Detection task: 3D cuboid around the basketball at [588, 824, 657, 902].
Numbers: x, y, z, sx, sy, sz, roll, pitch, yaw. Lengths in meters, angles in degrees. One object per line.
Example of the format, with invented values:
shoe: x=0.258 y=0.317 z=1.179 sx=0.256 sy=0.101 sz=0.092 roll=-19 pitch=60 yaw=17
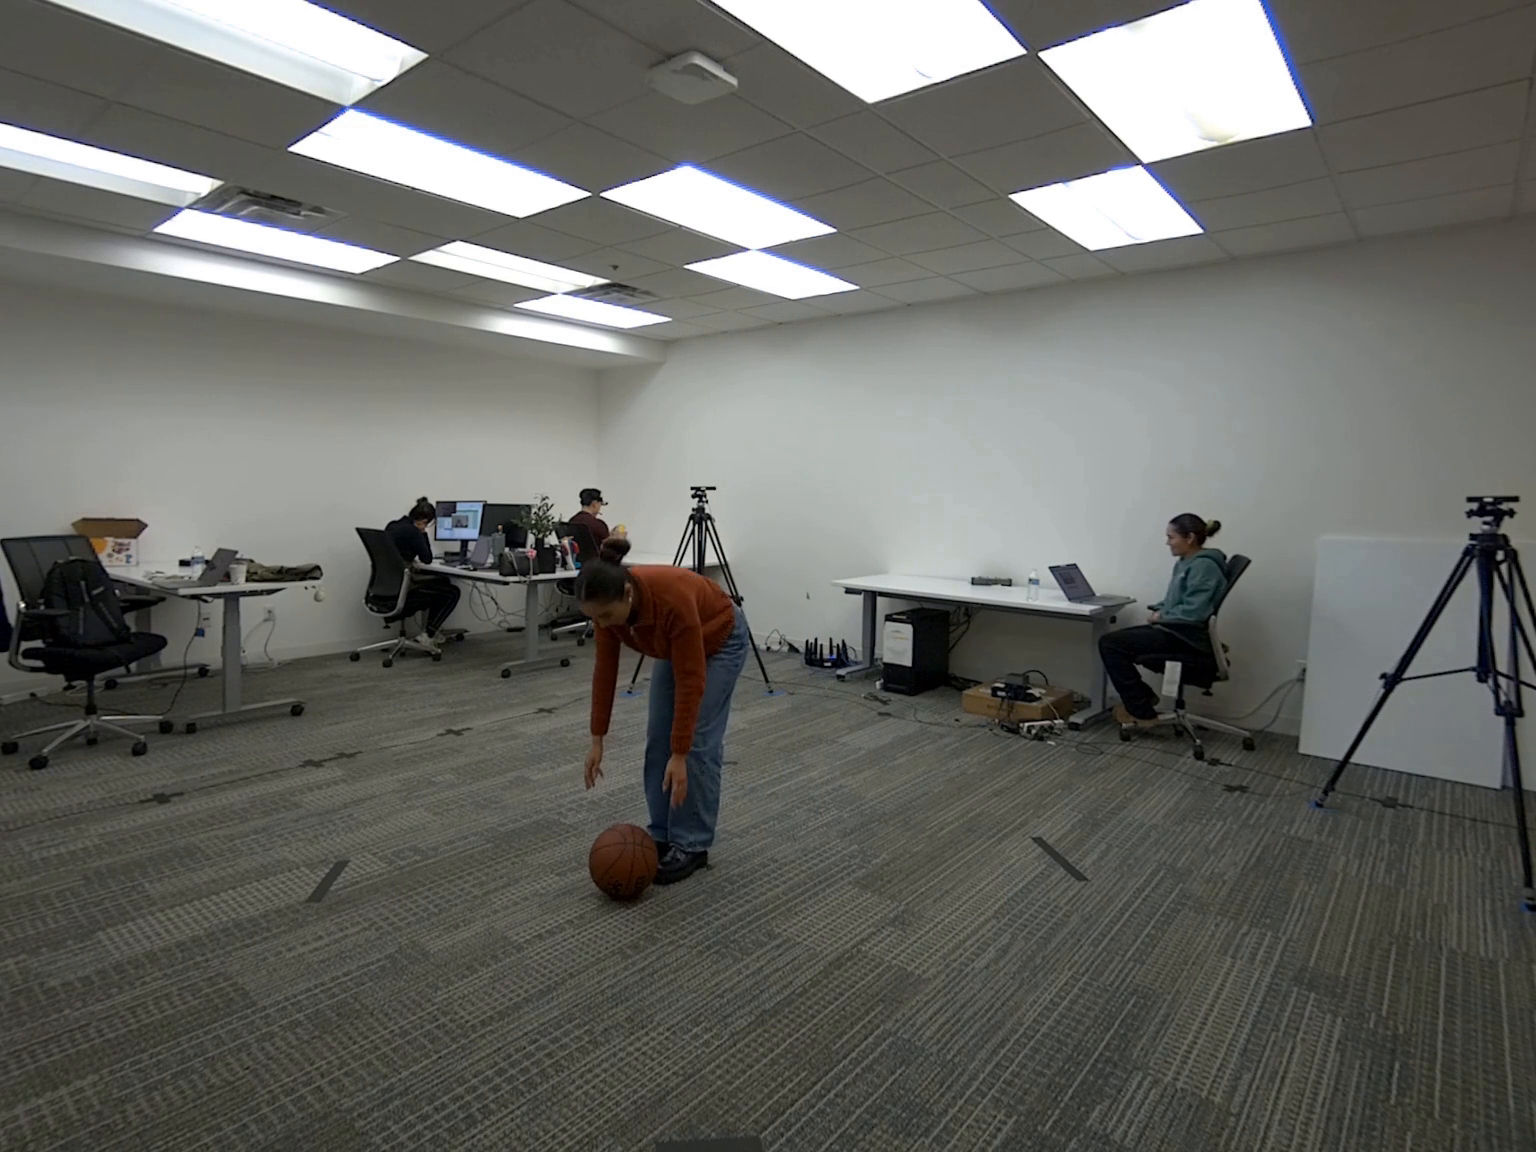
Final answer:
basketball: x=-0.502 y=0.957 z=2.886 sx=0.235 sy=0.235 sz=0.237 roll=1 pitch=4 yaw=-2
